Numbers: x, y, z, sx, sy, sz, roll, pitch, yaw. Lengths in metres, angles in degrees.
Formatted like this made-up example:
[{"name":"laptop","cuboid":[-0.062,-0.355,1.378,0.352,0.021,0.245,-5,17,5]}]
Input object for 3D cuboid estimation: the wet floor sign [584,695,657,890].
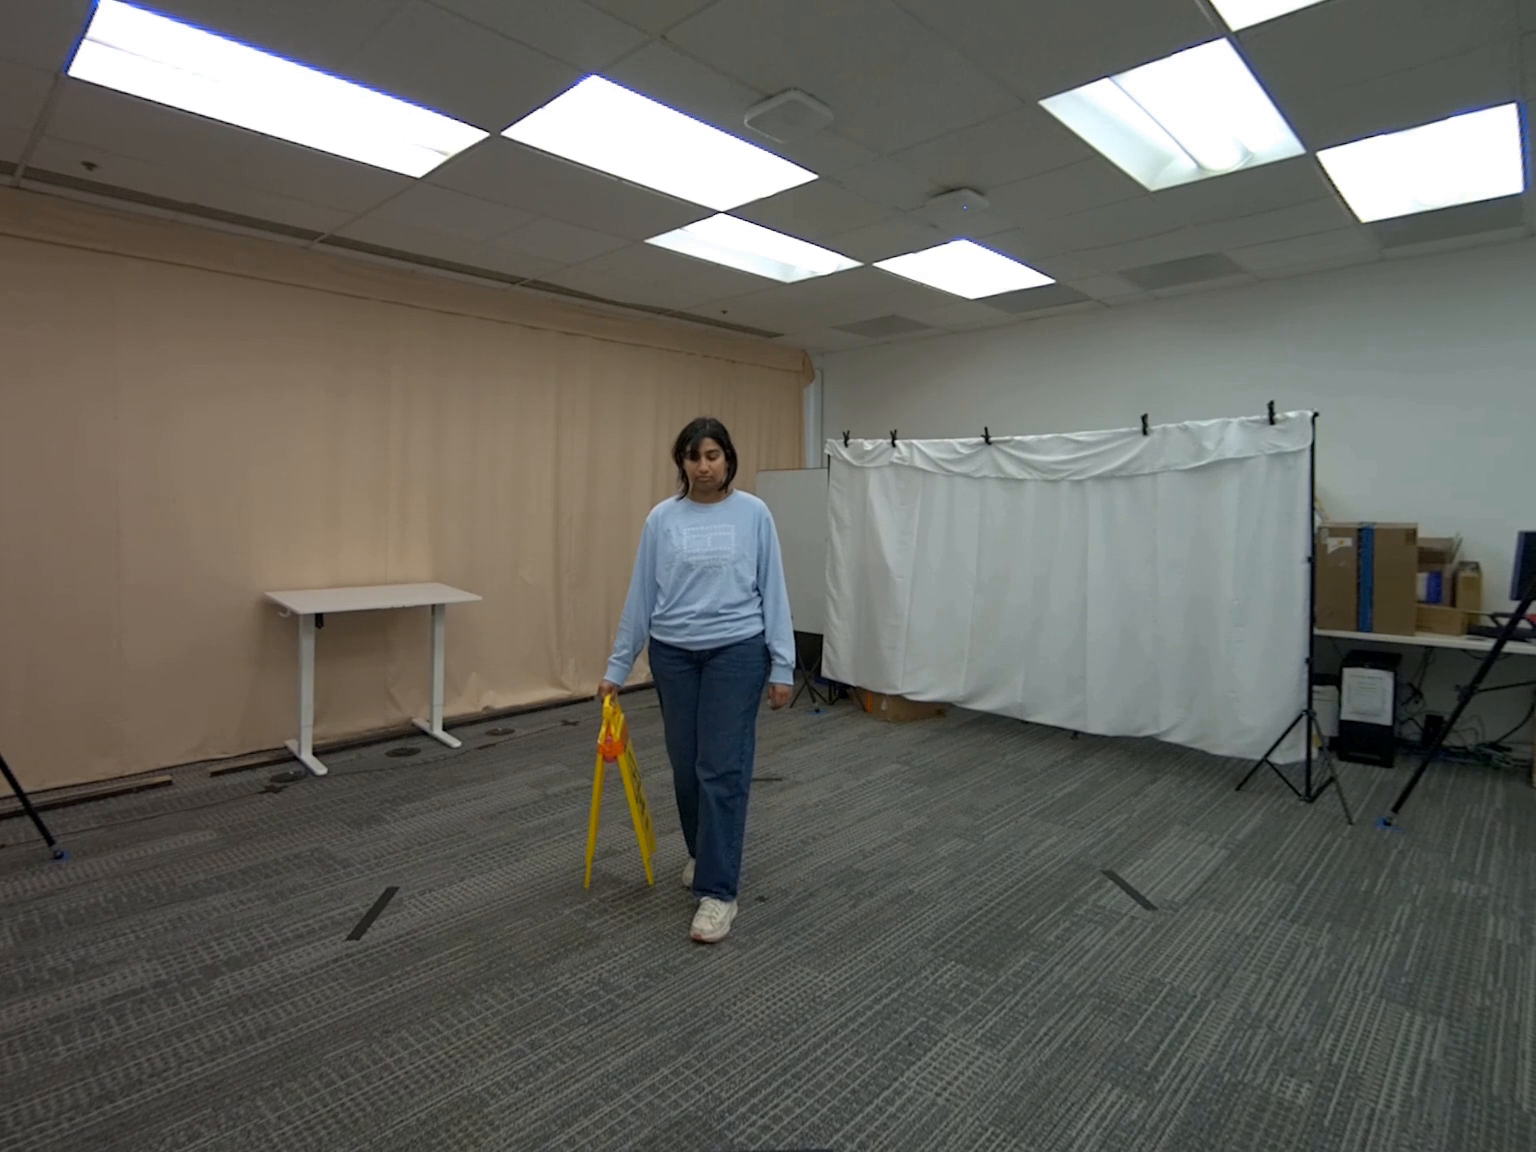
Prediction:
[{"name":"wet floor sign","cuboid":[-0.542,0.737,2.980,0.289,0.642,0.285,-2,10,-4]}]
